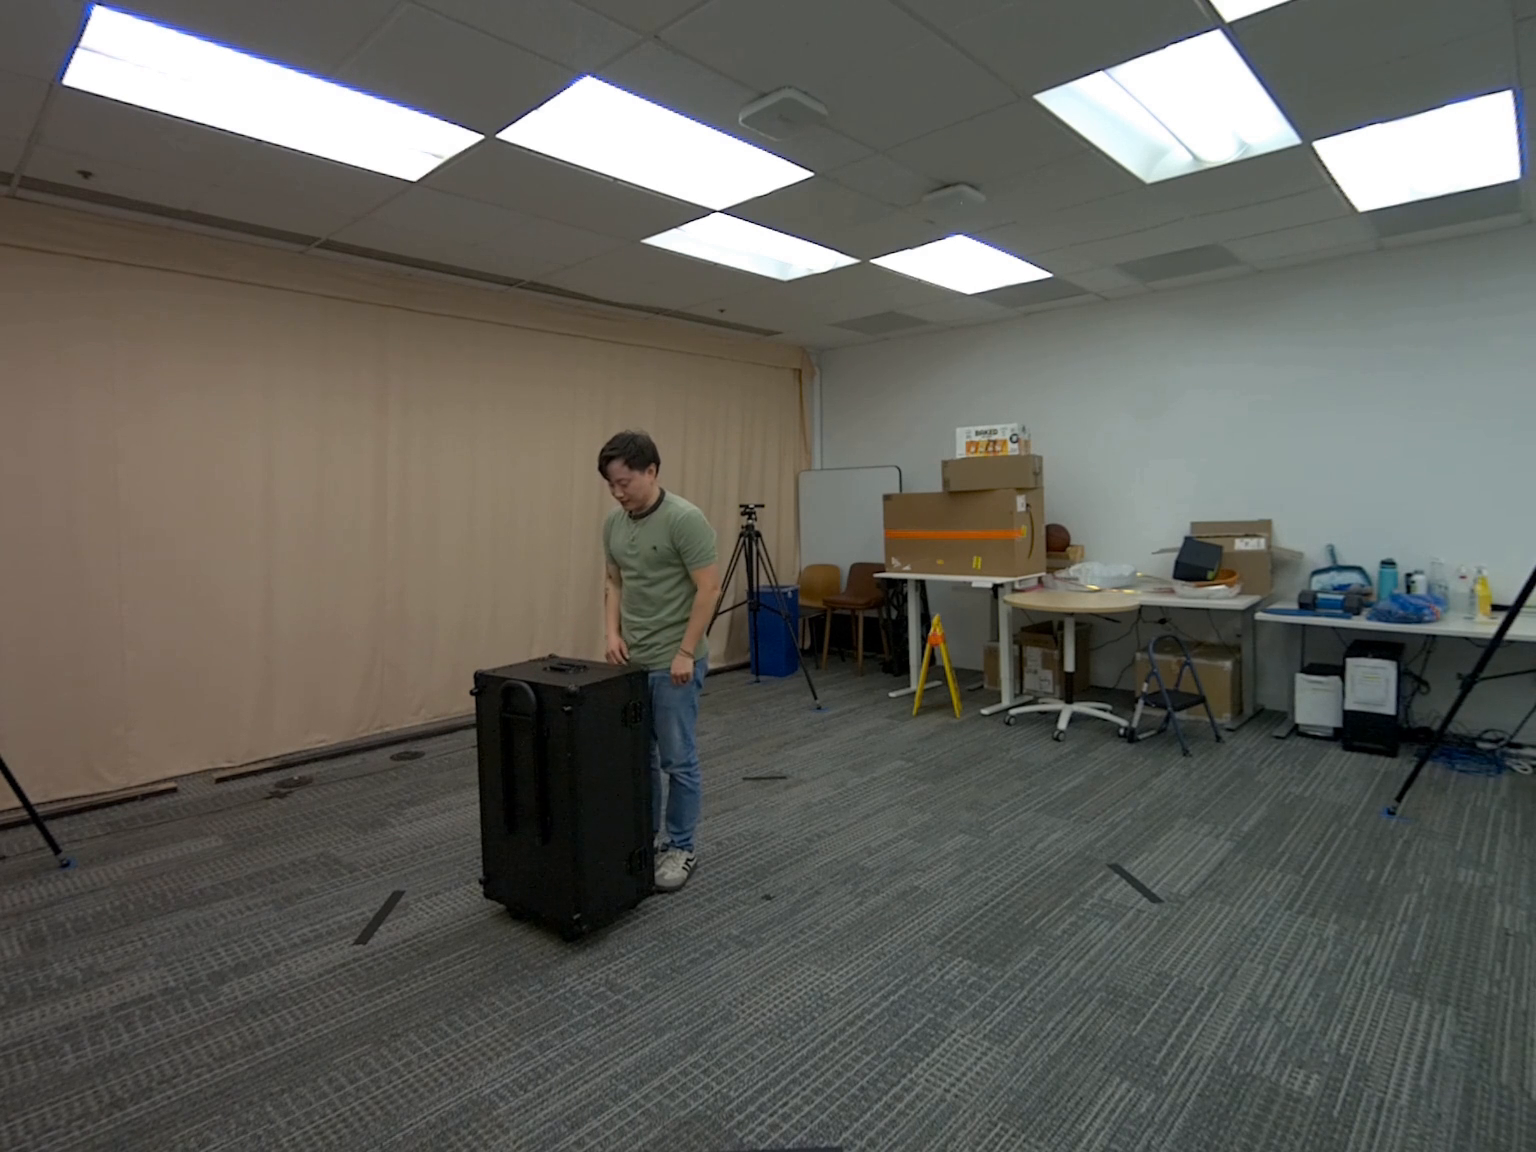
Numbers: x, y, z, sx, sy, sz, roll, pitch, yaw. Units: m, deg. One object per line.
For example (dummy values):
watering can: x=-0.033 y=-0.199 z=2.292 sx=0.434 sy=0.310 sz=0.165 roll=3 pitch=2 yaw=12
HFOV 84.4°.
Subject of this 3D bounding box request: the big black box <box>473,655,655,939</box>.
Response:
big black box: x=-0.688 y=0.744 z=2.855 sx=0.537 sy=0.859 sz=0.385 roll=2 pitch=5 yaw=35
